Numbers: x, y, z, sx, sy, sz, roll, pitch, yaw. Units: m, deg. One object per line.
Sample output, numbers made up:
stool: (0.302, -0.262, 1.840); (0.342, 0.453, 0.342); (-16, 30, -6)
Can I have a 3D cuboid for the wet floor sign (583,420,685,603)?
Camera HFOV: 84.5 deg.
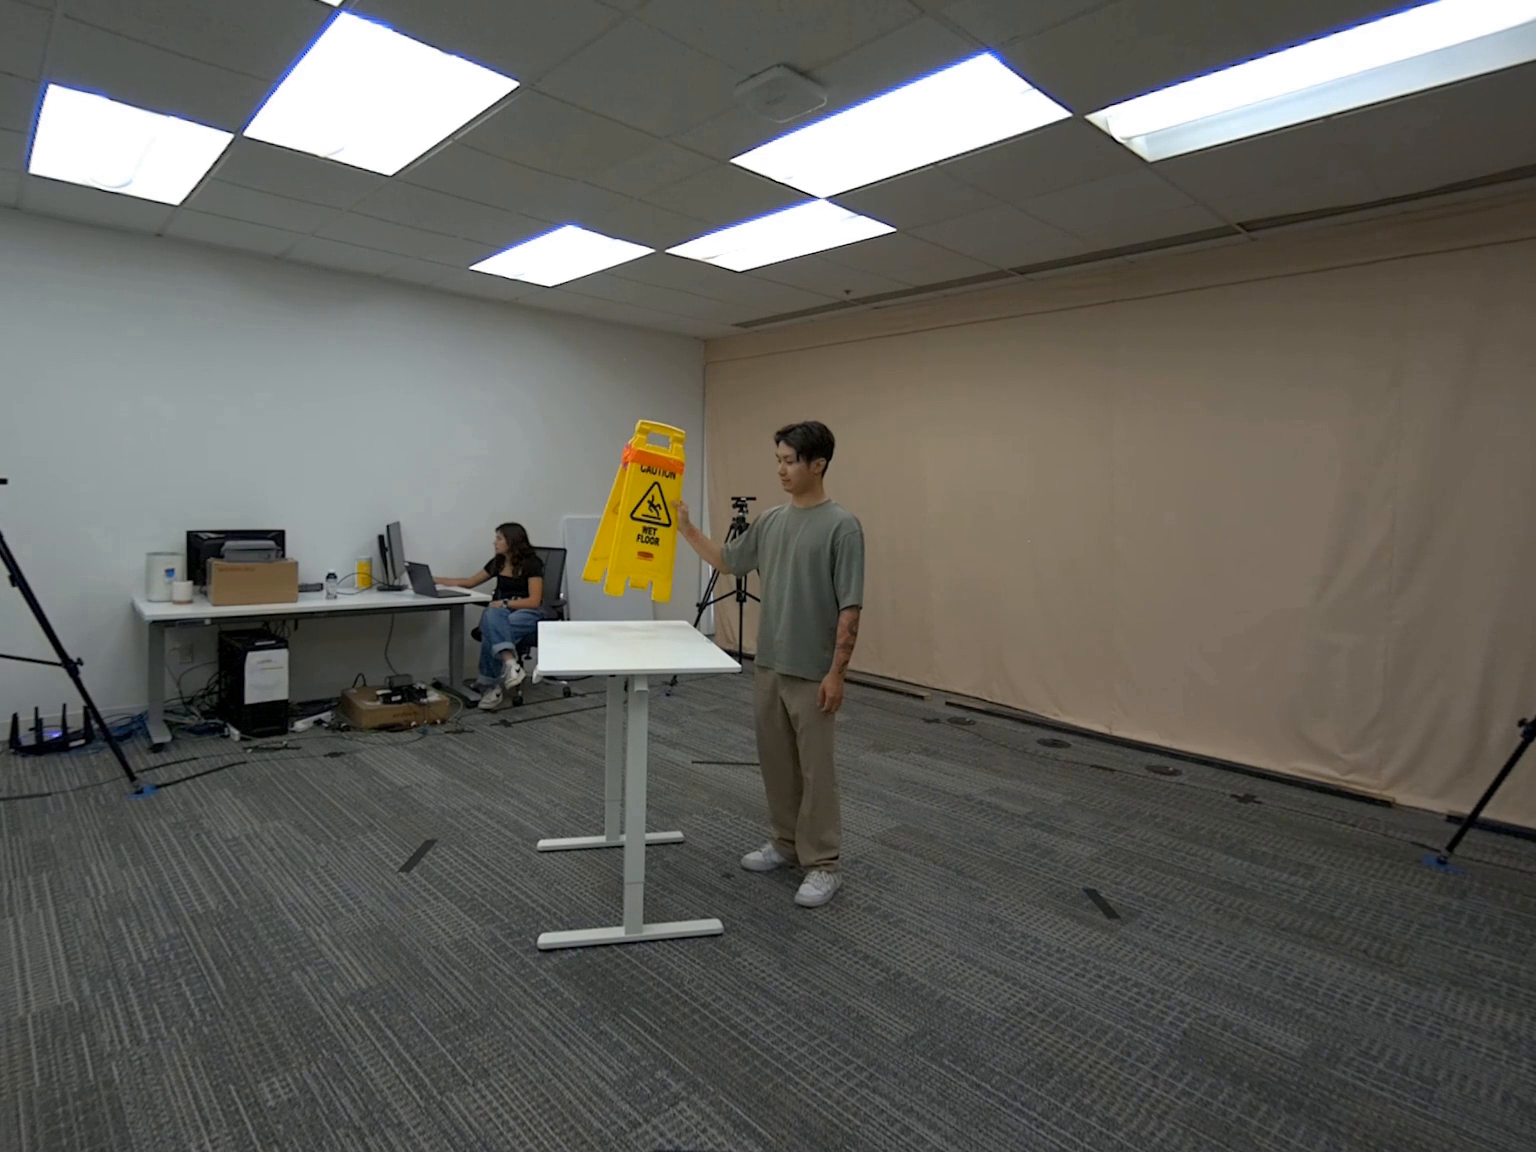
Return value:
wet floor sign: (-0.478, -0.254, 3.206); (0.275, 0.645, 0.297); (11, 4, -32)
